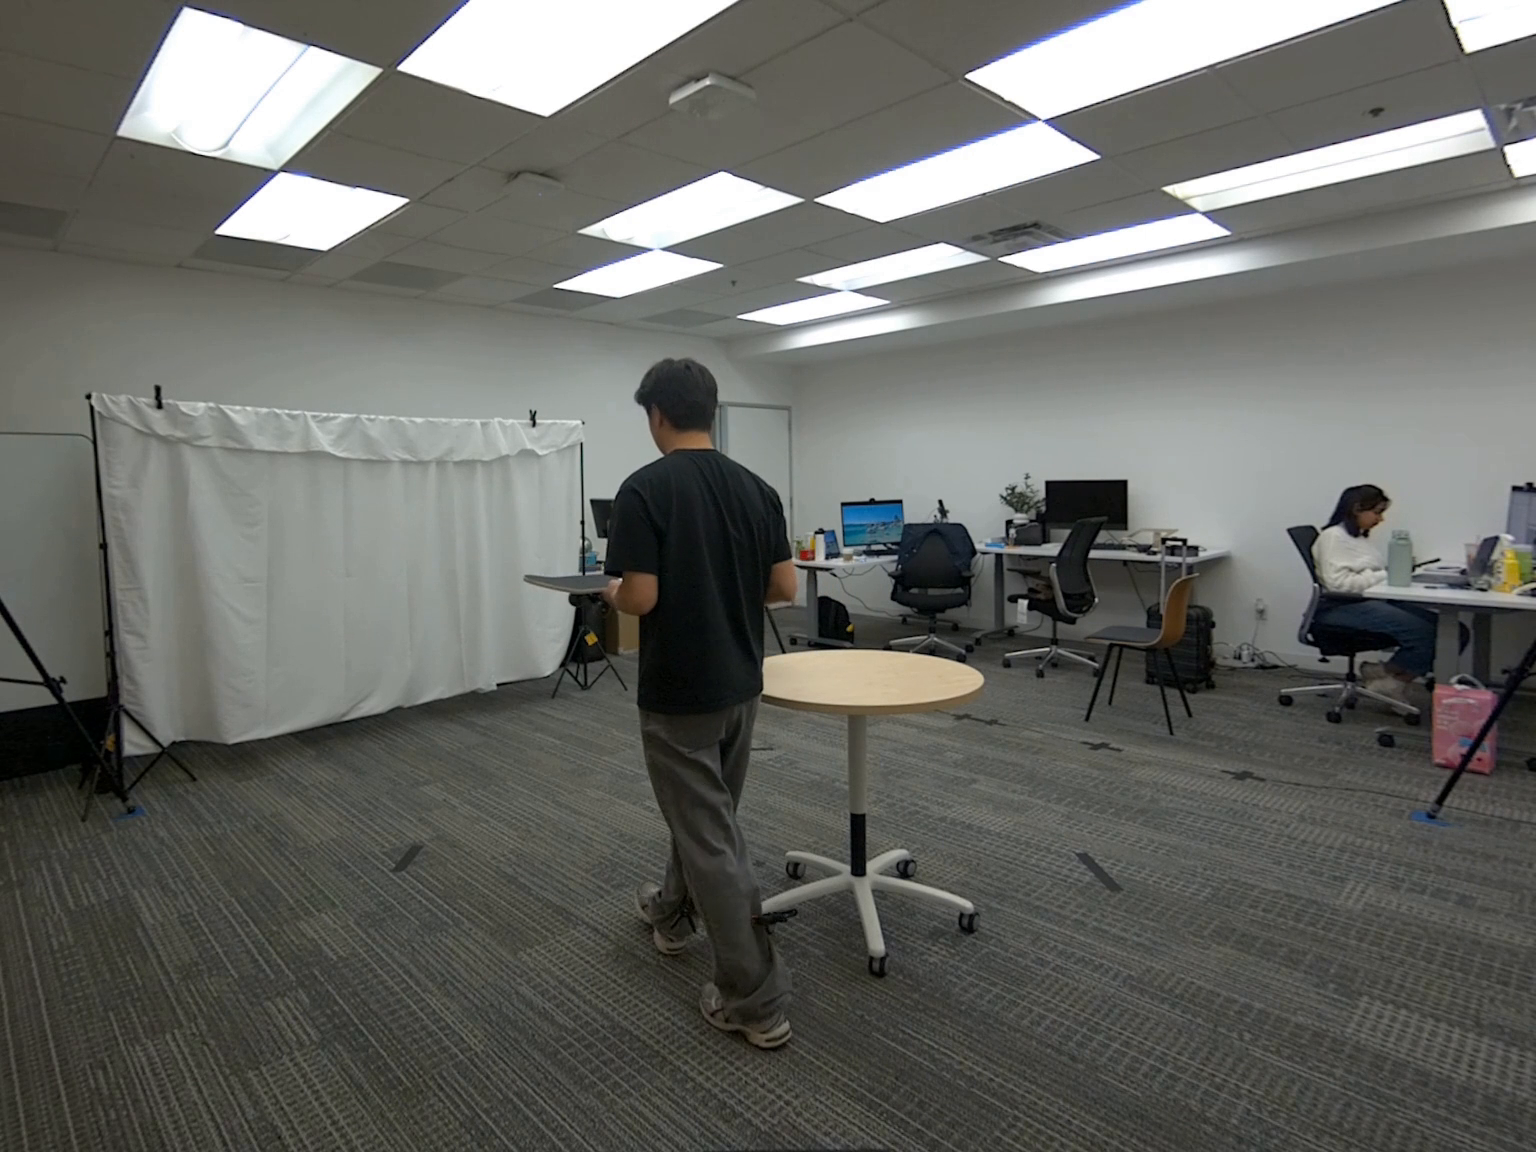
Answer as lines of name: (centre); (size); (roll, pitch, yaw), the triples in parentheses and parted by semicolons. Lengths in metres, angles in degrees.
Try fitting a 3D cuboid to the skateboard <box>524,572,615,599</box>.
skateboard: (-0.393, 0.040, 2.574); (0.764, 0.109, 0.200); (-4, 12, -41)
